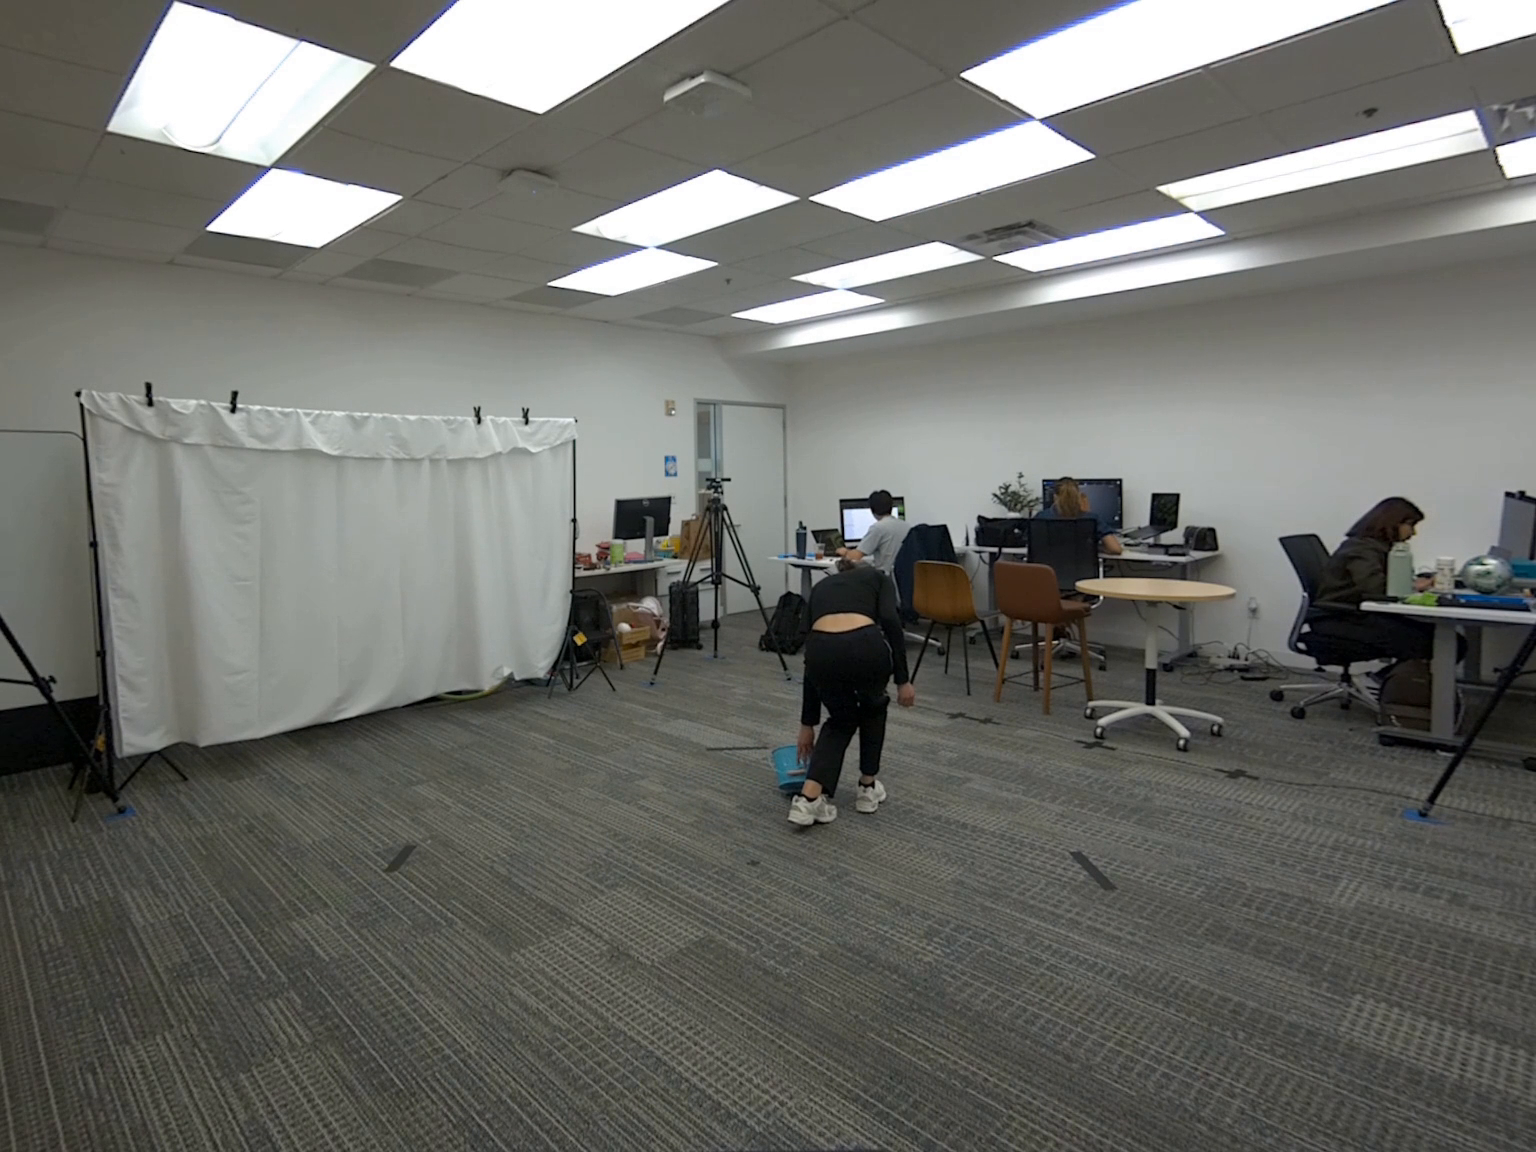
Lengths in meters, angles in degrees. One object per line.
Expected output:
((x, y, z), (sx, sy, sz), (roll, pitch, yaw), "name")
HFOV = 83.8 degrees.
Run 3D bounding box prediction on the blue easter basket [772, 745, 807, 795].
((0.135, 0.859, 3.772), (0.243, 0.159, 0.238), (0, -29, -2), "blue easter basket")
